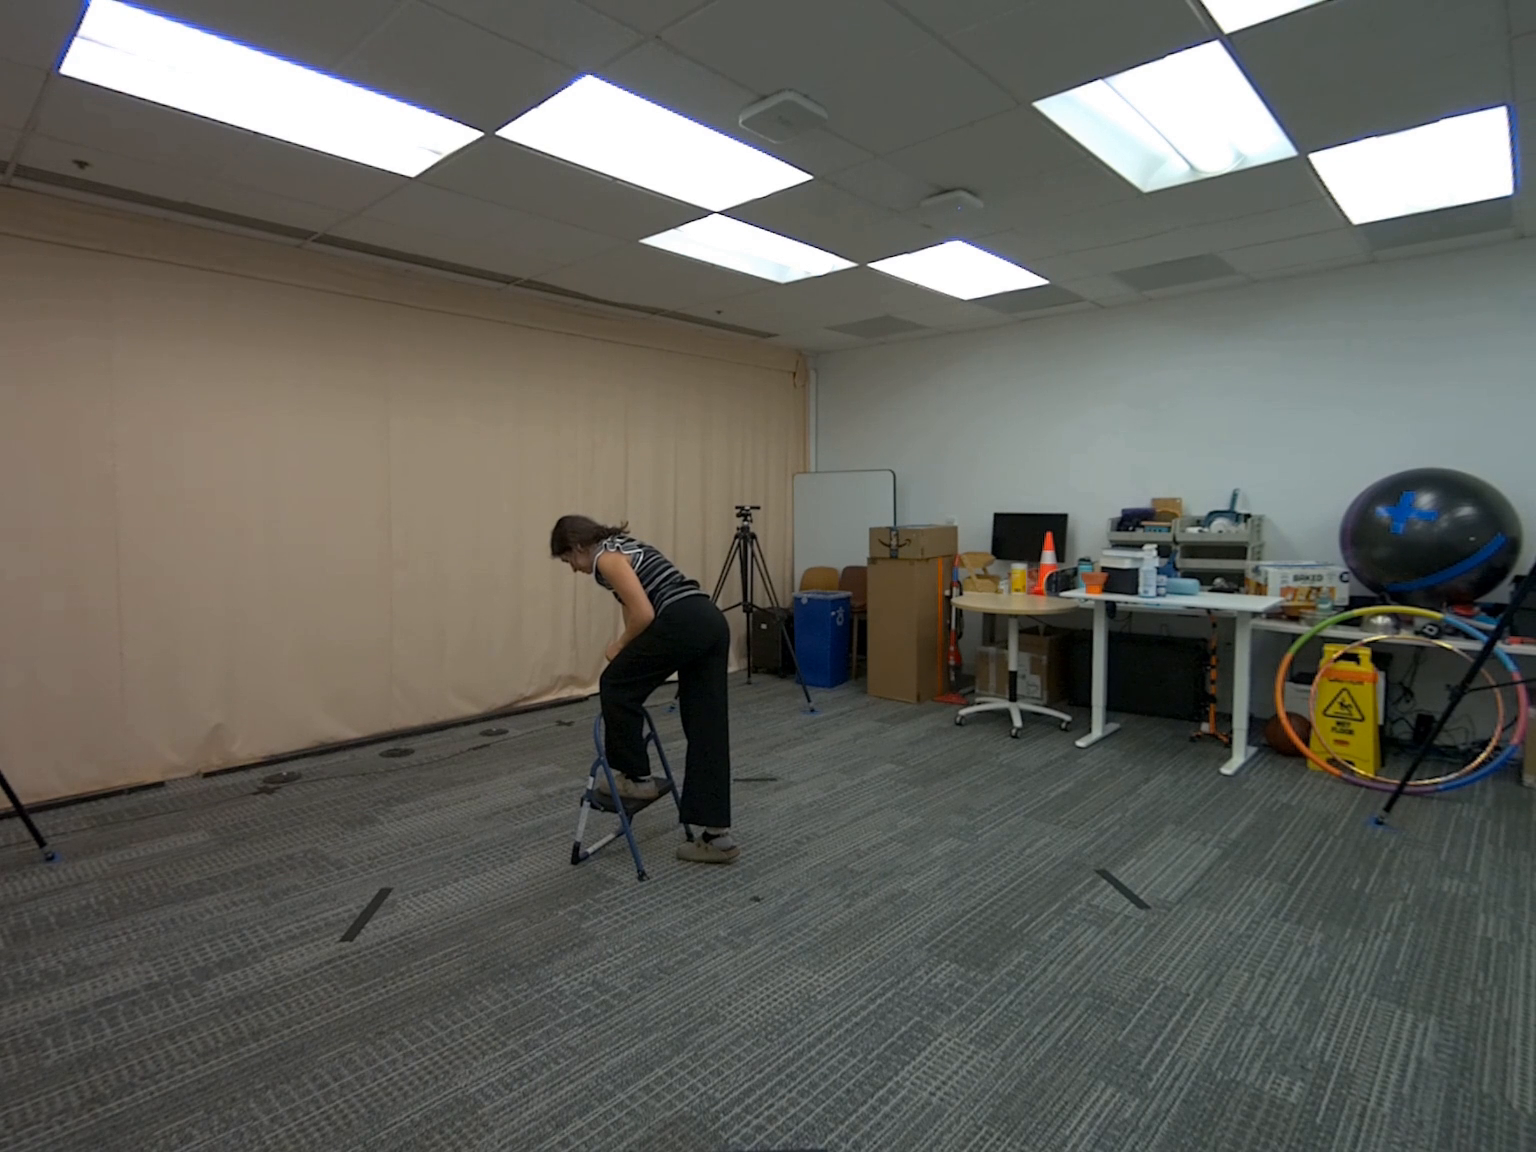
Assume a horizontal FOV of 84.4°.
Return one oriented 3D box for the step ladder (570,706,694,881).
[{"bbox_3d":[-0.538,0.813,3.383,0.358,0.605,0.421,0,3,23],"label":"step ladder"}]
